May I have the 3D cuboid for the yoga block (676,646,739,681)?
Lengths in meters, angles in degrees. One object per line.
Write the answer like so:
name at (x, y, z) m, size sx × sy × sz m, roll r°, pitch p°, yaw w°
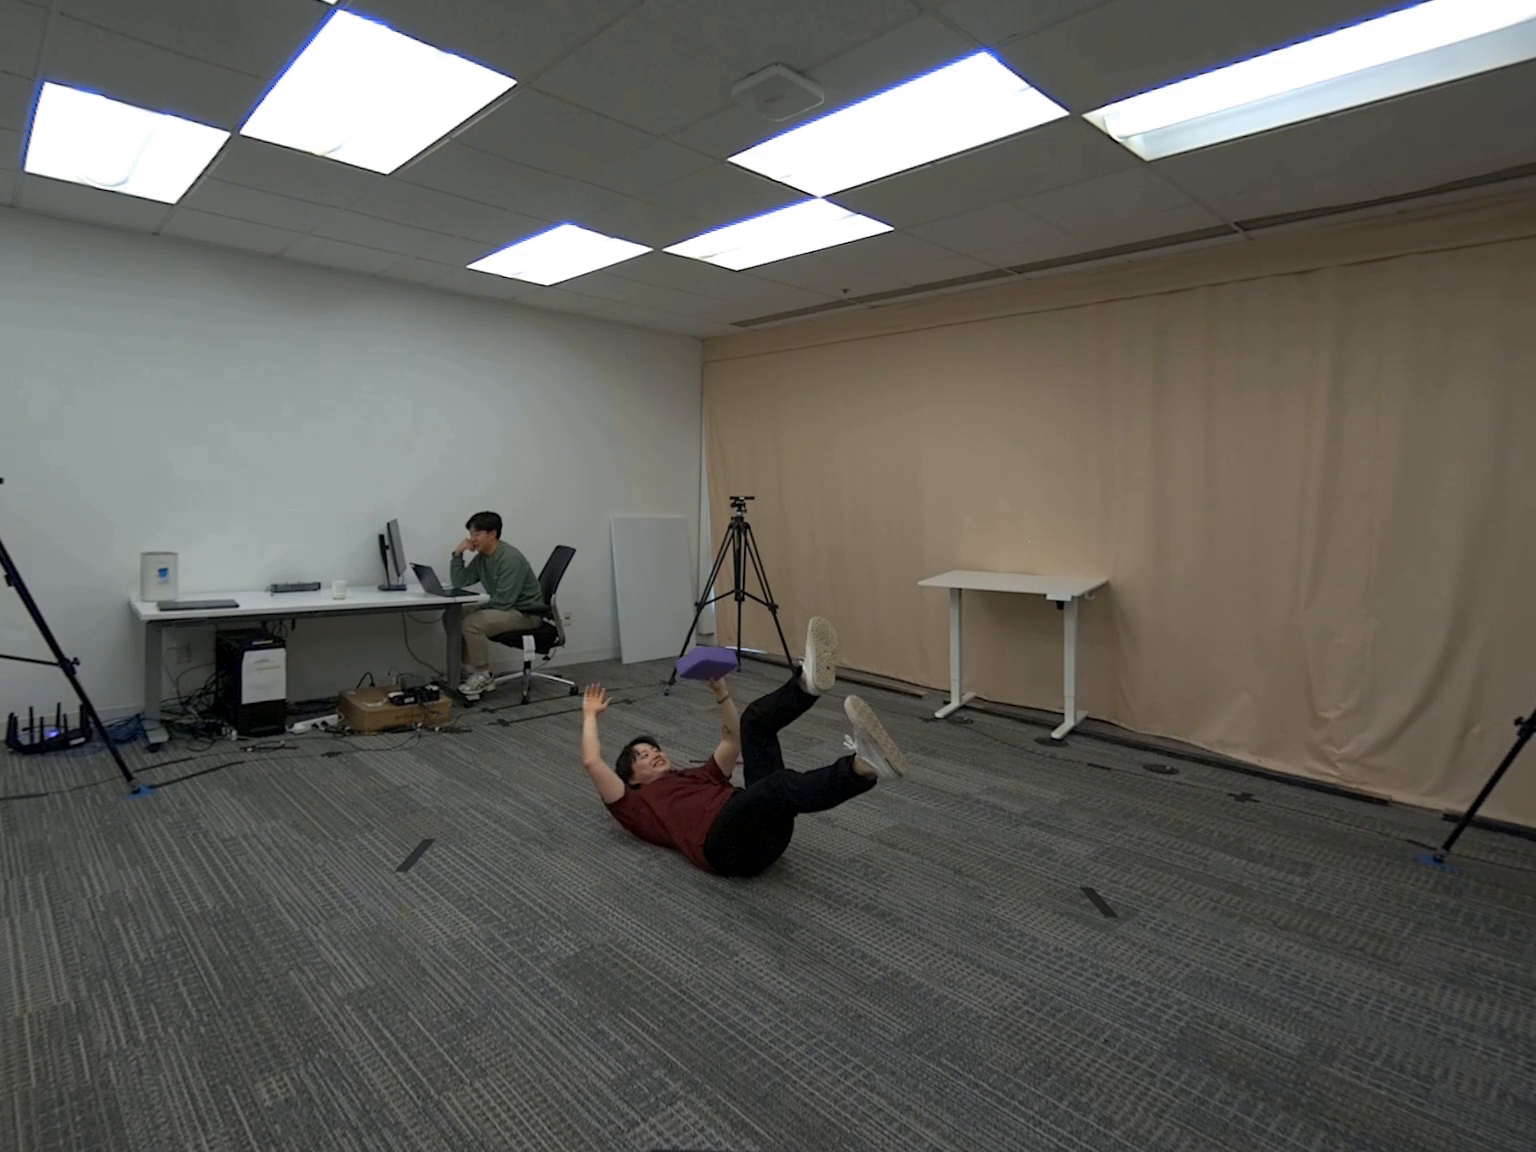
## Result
yoga block at (-0.260, 0.361, 3.450) m, size 0.149 × 0.078 × 0.223 m, roll -37°, pitch -30°, yaw 29°
